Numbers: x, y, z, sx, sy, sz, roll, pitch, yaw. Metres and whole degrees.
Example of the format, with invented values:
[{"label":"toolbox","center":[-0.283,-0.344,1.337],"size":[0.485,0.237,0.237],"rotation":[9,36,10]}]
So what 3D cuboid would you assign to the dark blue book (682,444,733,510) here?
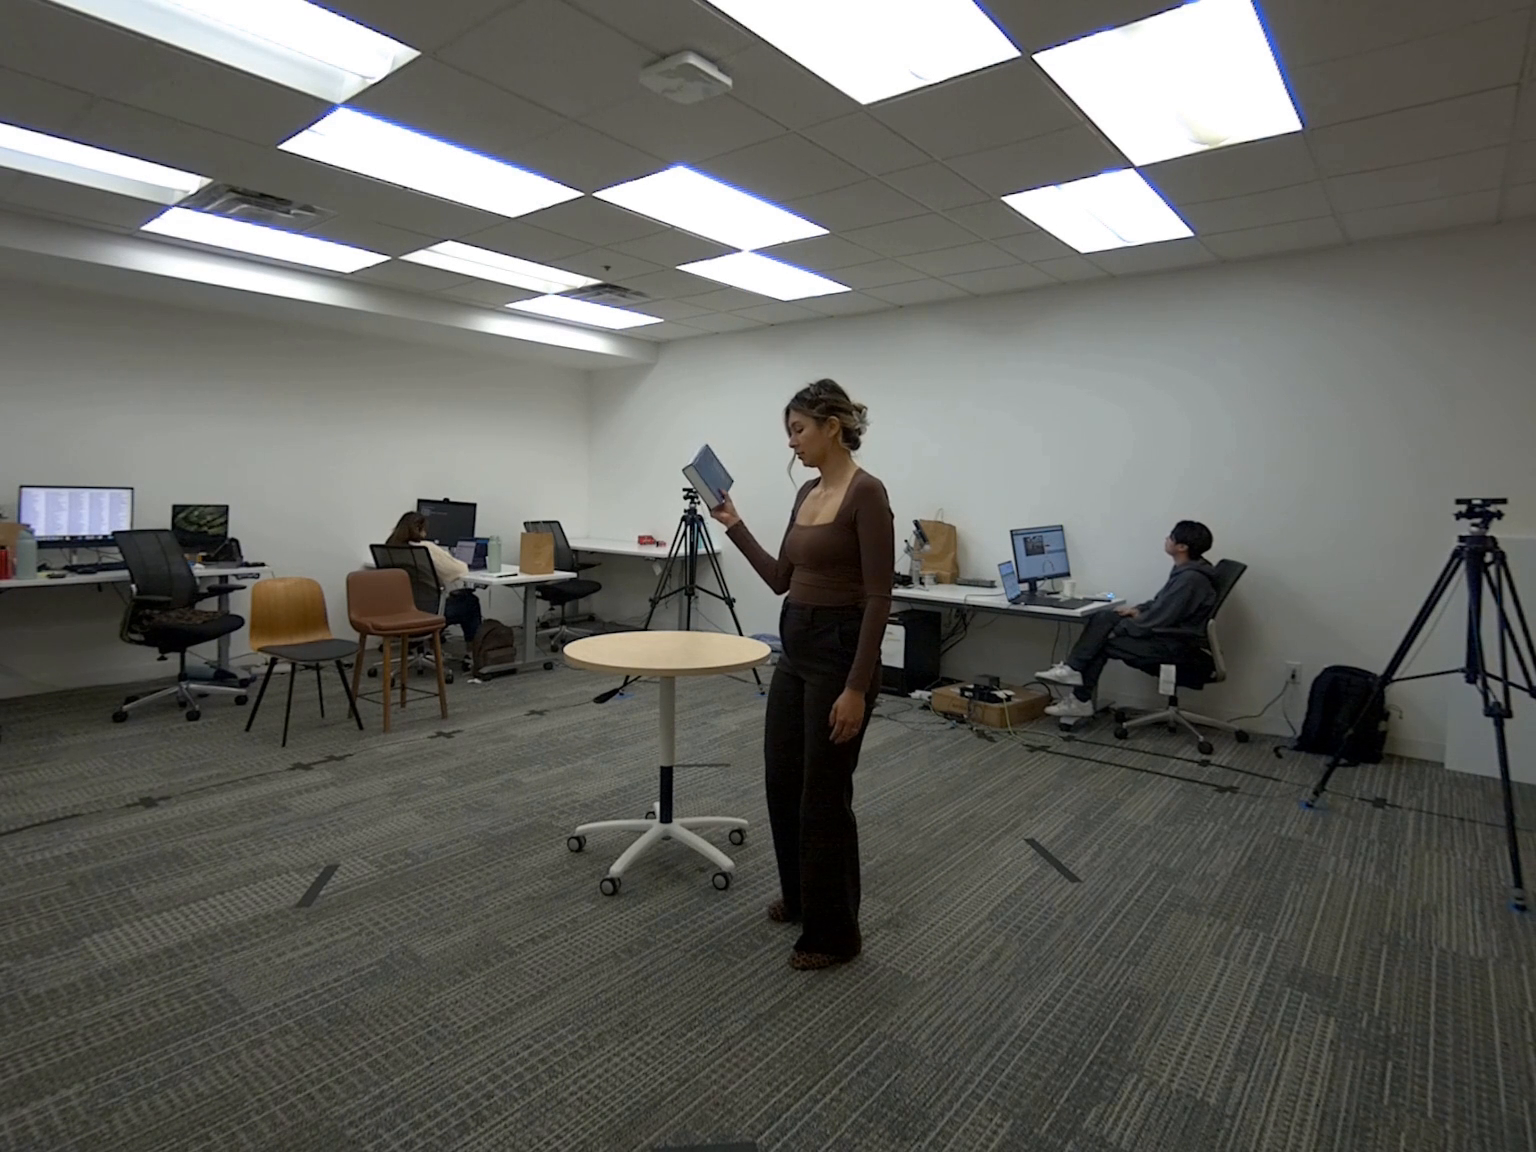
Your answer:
[{"label":"dark blue book","center":[-0.204,-0.329,2.788],"size":[0.045,0.160,0.248],"rotation":[-31,16,19]}]
